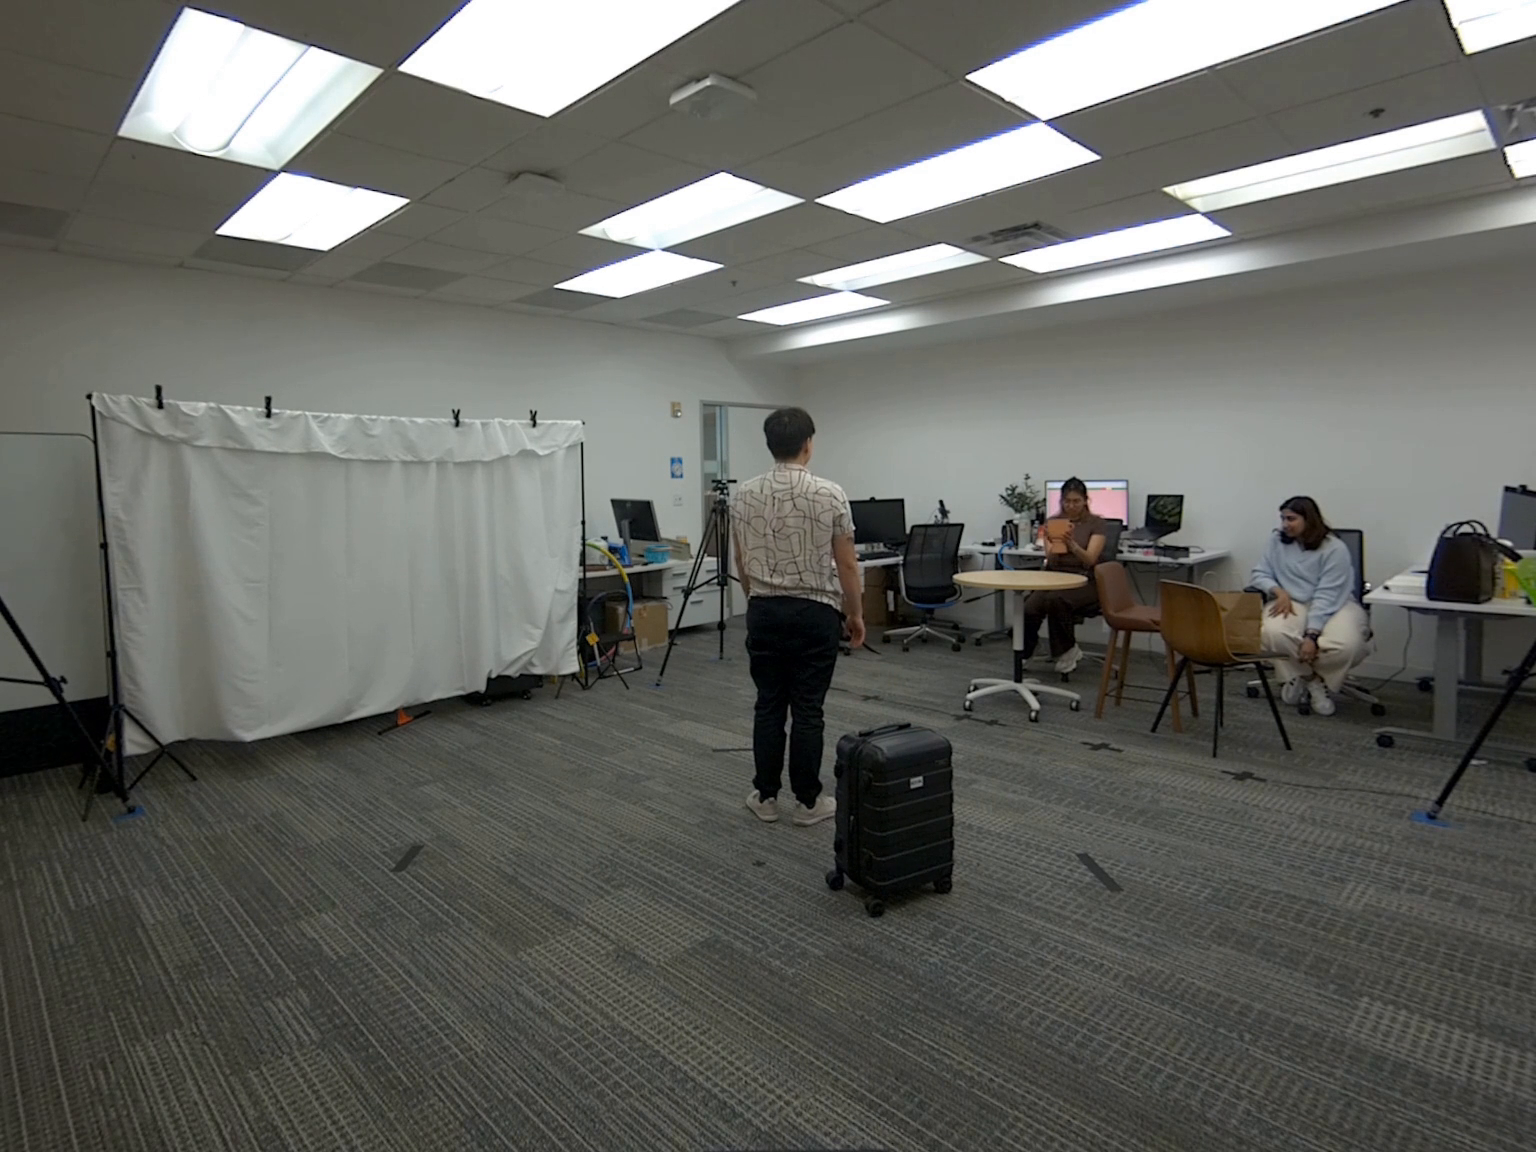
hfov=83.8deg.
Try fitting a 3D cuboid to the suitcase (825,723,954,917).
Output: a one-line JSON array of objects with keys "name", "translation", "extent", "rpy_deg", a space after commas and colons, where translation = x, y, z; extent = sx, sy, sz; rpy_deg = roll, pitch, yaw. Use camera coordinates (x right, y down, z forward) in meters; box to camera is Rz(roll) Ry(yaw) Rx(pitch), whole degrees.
[{"name": "suitcase", "translation": [0.440, 0.790, 2.879], "extent": [0.366, 0.548, 0.255], "rpy_deg": [-1, 3, -31]}]
